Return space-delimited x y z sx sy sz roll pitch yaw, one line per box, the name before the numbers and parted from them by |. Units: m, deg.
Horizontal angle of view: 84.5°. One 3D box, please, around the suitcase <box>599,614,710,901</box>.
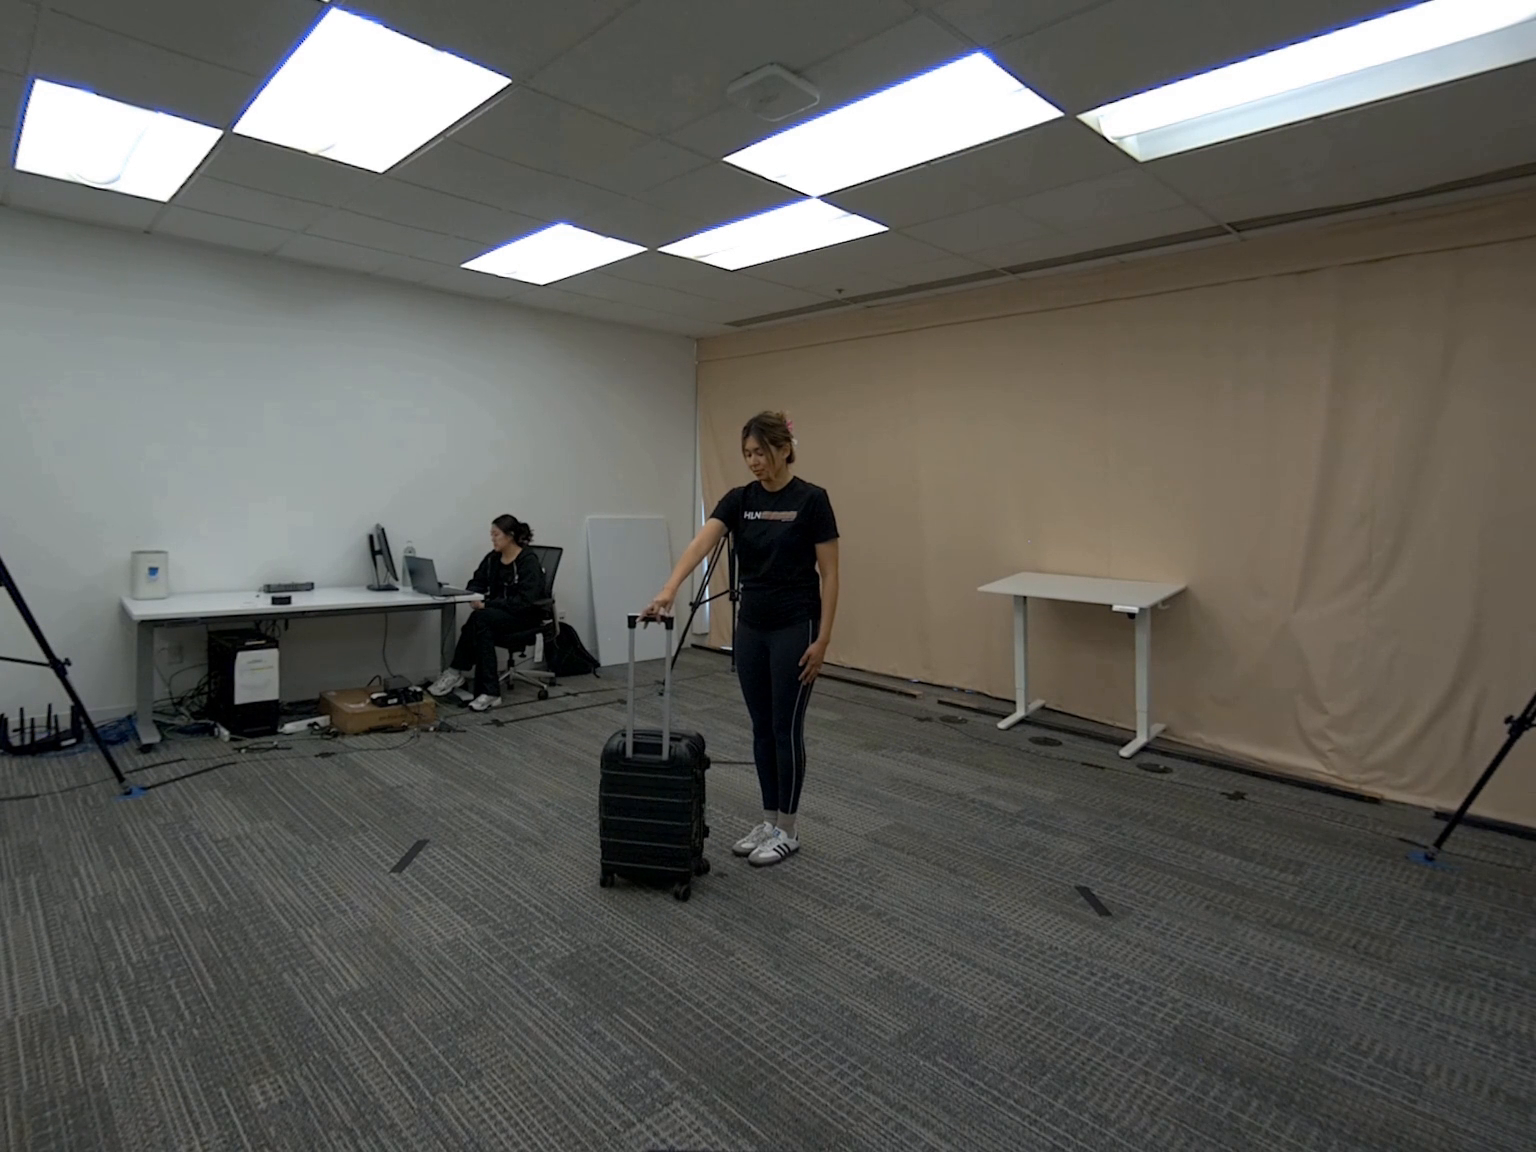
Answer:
suitcase | -0.415 0.629 3.028 0.387 0.977 0.255 2 2 10
